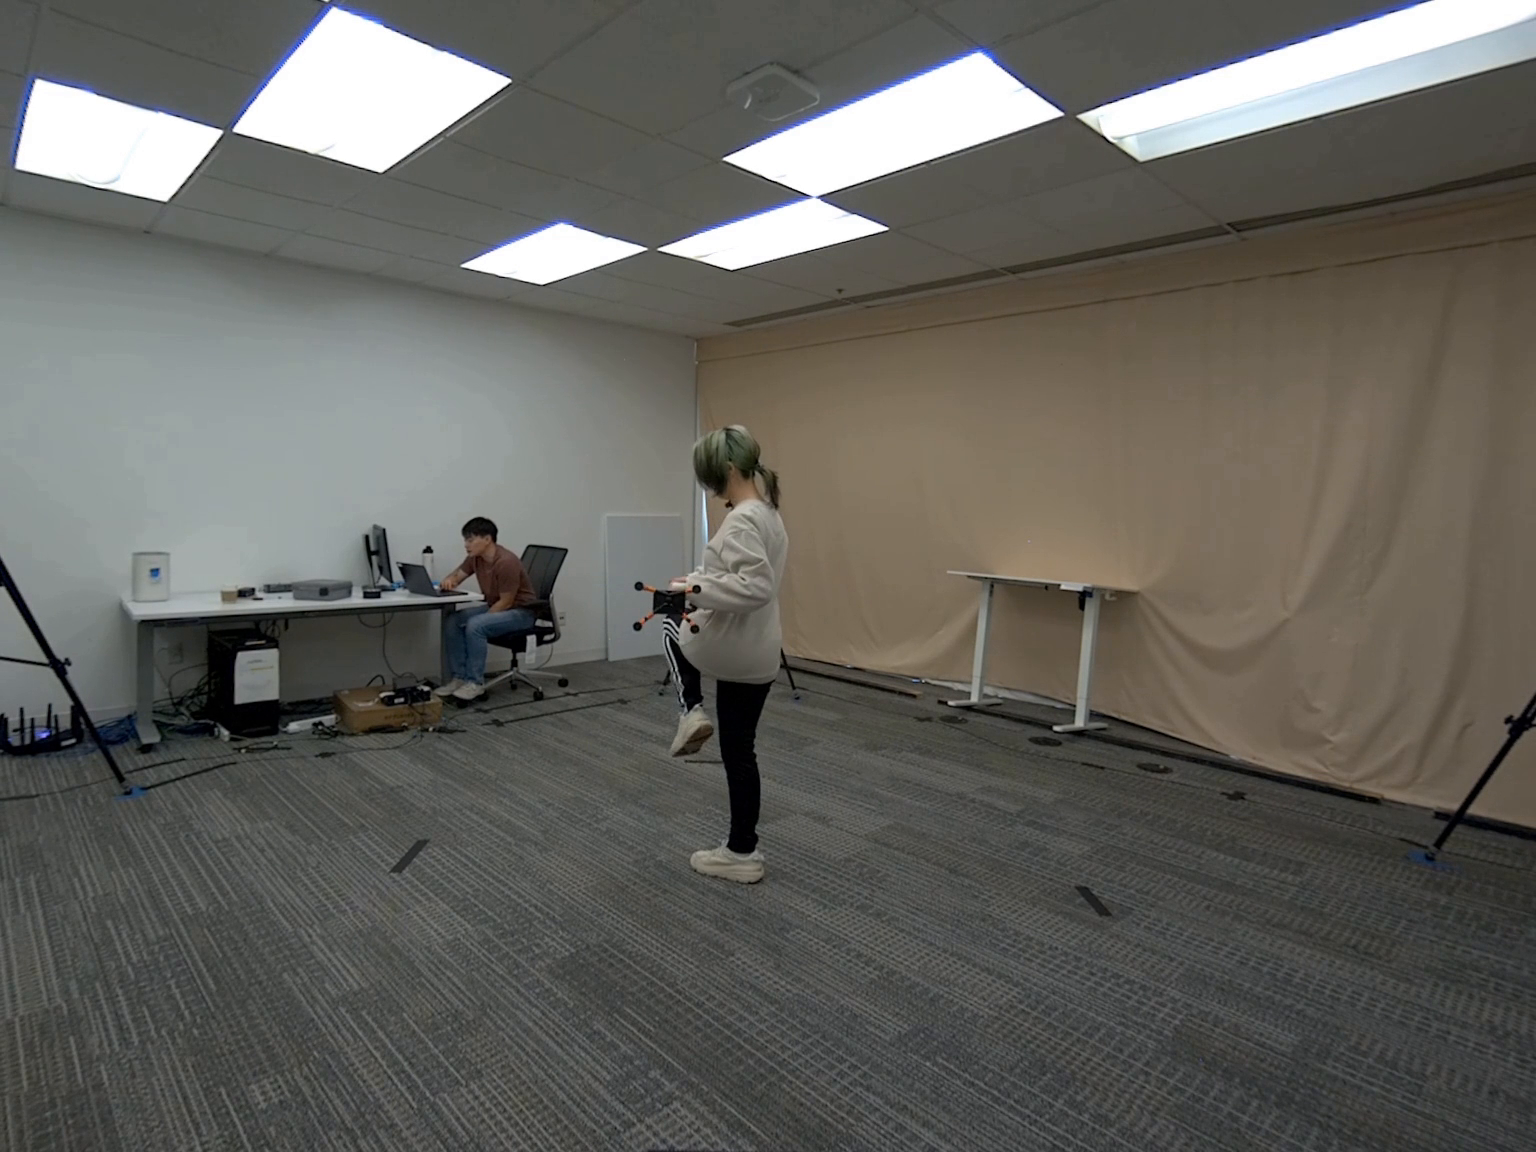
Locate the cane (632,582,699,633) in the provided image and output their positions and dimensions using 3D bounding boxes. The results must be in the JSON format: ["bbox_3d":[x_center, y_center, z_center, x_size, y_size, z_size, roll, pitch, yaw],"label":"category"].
[{"bbox_3d":[-0.338,0.075,3.028,0.206,0.151,0.908,2,3,0],"label":"cane"}]
